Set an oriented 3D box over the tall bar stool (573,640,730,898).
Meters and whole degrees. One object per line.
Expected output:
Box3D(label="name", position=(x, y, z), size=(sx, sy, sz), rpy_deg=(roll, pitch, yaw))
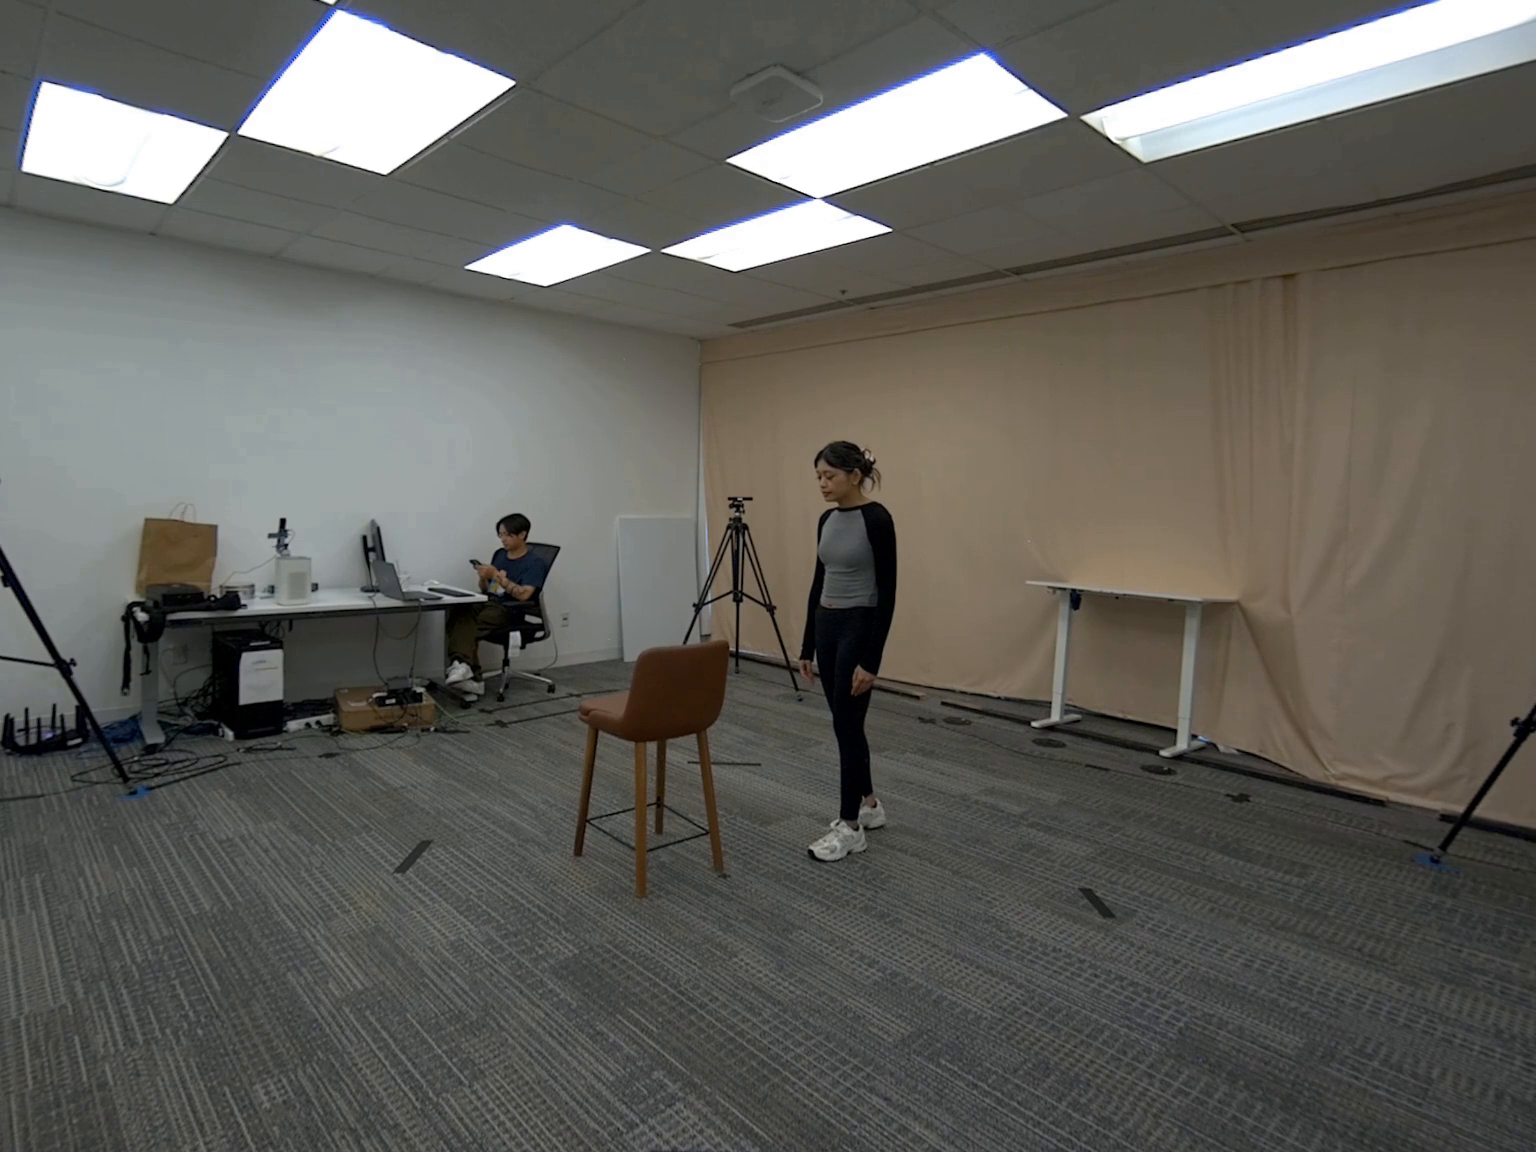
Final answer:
Box3D(label="tall bar stool", position=(-0.447, 0.660, 3.173), size=(0.446, 0.887, 0.480), rpy_deg=(-2, 6, -41))
